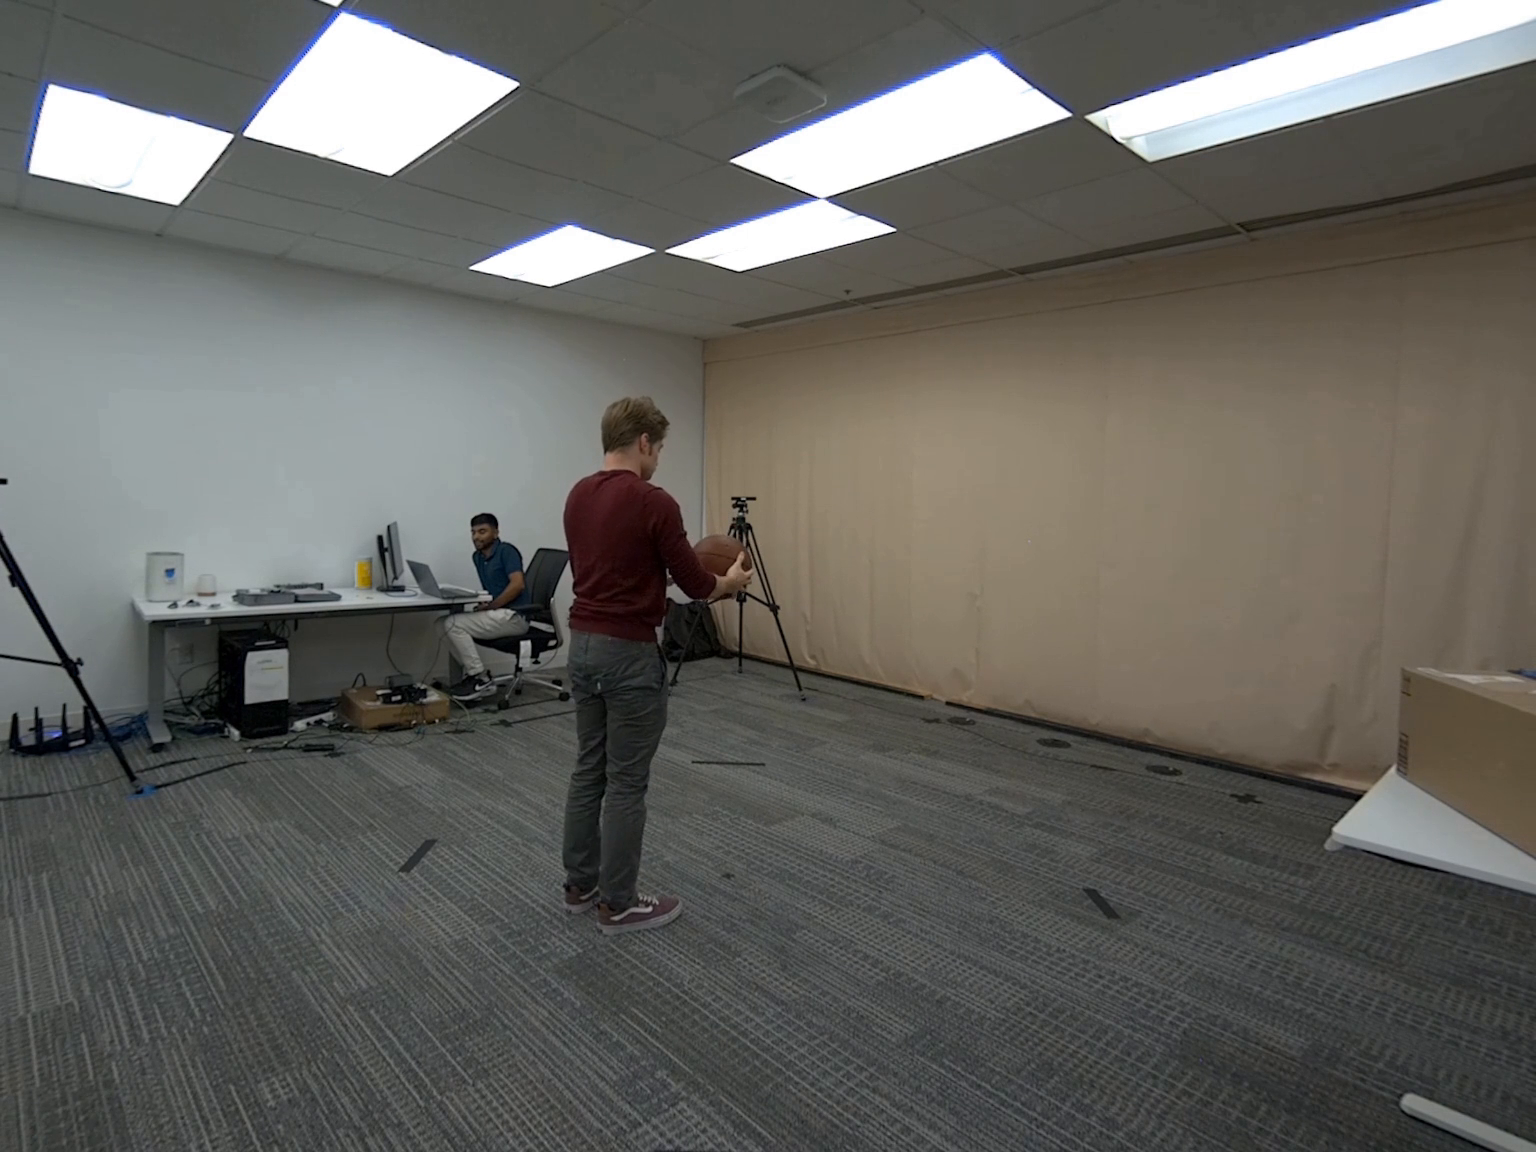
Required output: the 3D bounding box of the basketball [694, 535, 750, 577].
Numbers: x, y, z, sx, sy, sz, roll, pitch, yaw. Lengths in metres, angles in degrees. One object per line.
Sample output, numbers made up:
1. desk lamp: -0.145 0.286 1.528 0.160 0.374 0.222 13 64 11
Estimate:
1. basketball: -0.180 -0.033 3.059 0.236 0.235 0.237 1 4 -1
